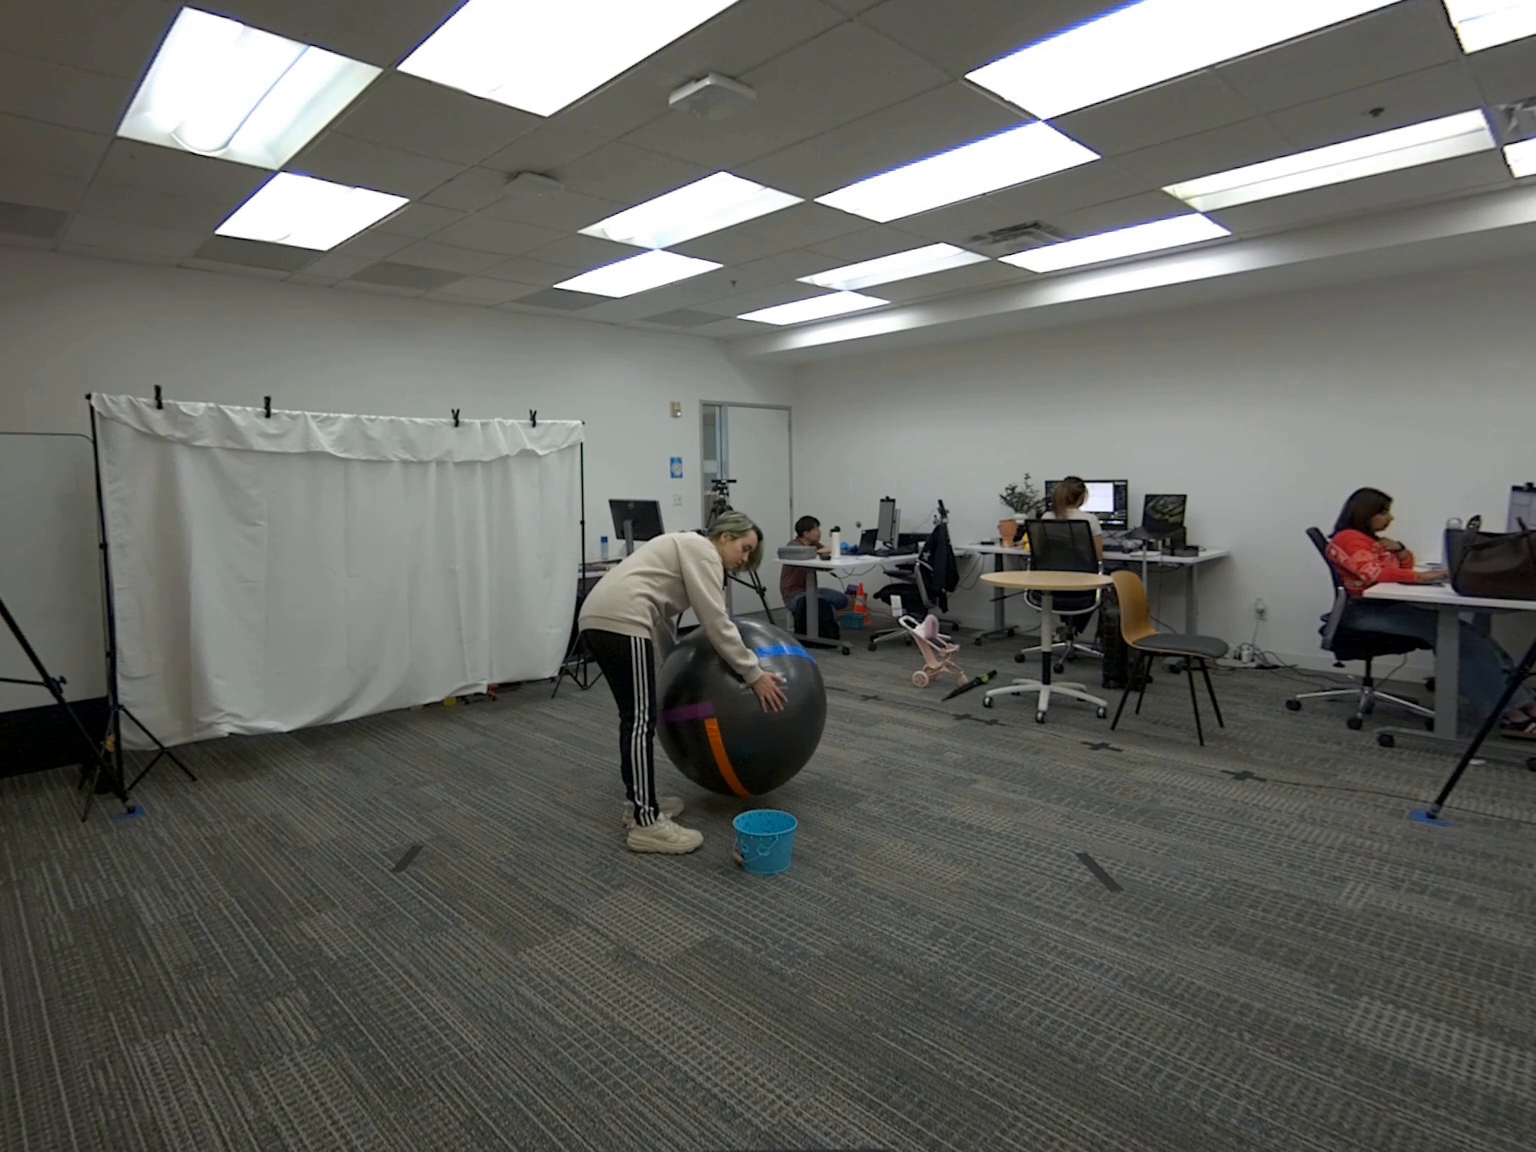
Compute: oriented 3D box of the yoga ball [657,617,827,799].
[{"bbox_3d":[-0.126,0.567,3.729,0.757,0.755,0.762,-1,5,-2],"label":"yoga ball"}]
